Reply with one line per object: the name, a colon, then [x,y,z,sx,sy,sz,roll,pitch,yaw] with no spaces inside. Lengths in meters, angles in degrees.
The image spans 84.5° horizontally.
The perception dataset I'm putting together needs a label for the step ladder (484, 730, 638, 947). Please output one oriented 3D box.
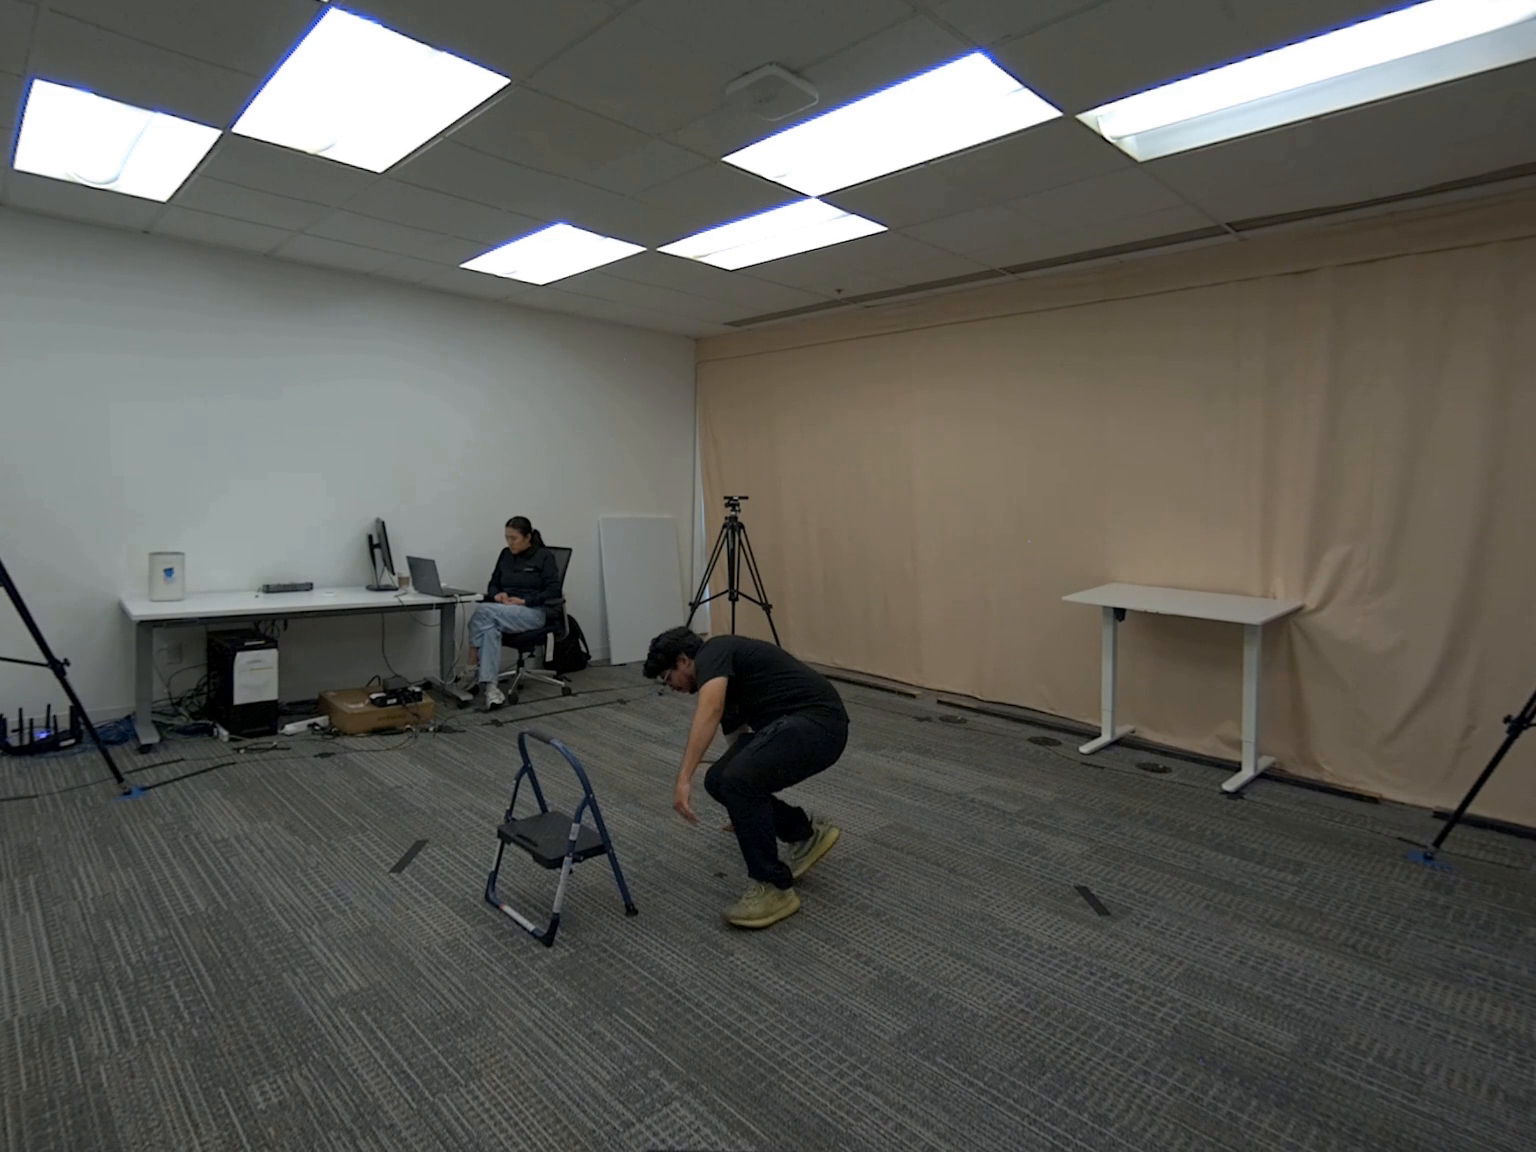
step ladder: [-0.700,0.815,2.824,0.441,0.604,0.341,4,5,45]
